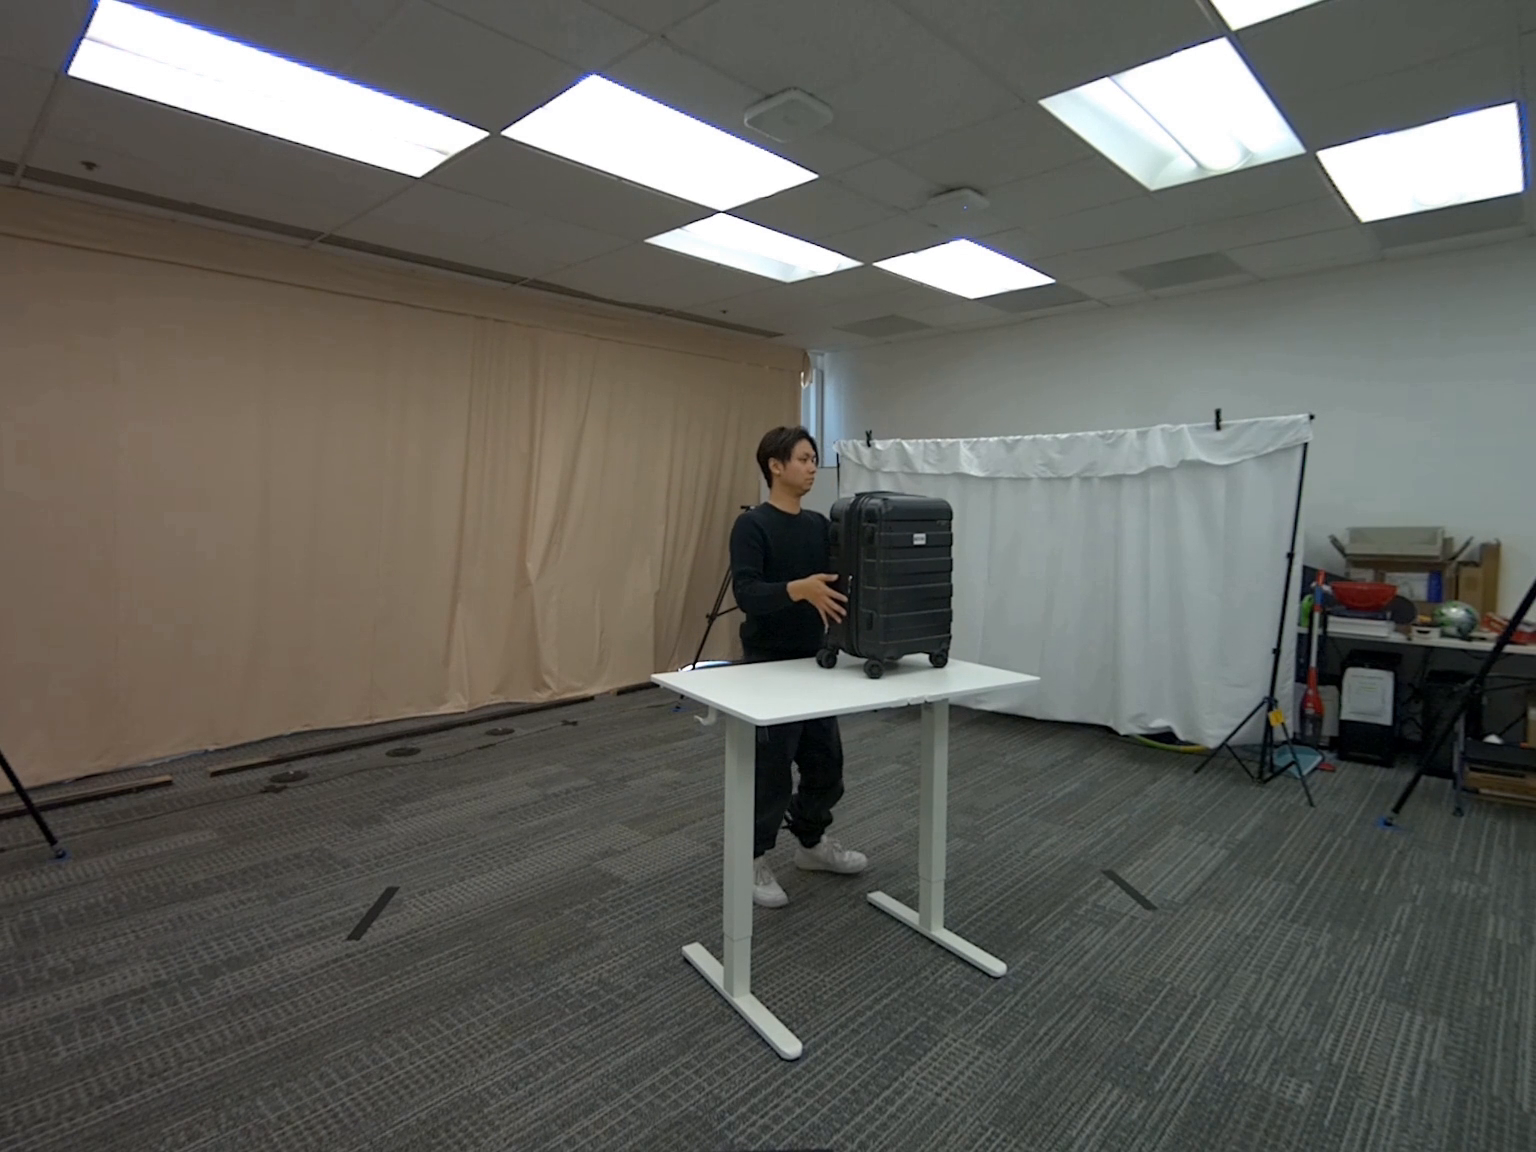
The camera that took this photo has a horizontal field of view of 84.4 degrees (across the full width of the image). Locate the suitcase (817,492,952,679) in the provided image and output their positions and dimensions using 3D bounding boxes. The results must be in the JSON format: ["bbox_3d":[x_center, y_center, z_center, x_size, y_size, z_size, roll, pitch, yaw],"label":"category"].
[{"bbox_3d":[0.382,0.012,2.644,0.364,0.548,0.256,0,4,-38],"label":"suitcase"}]
